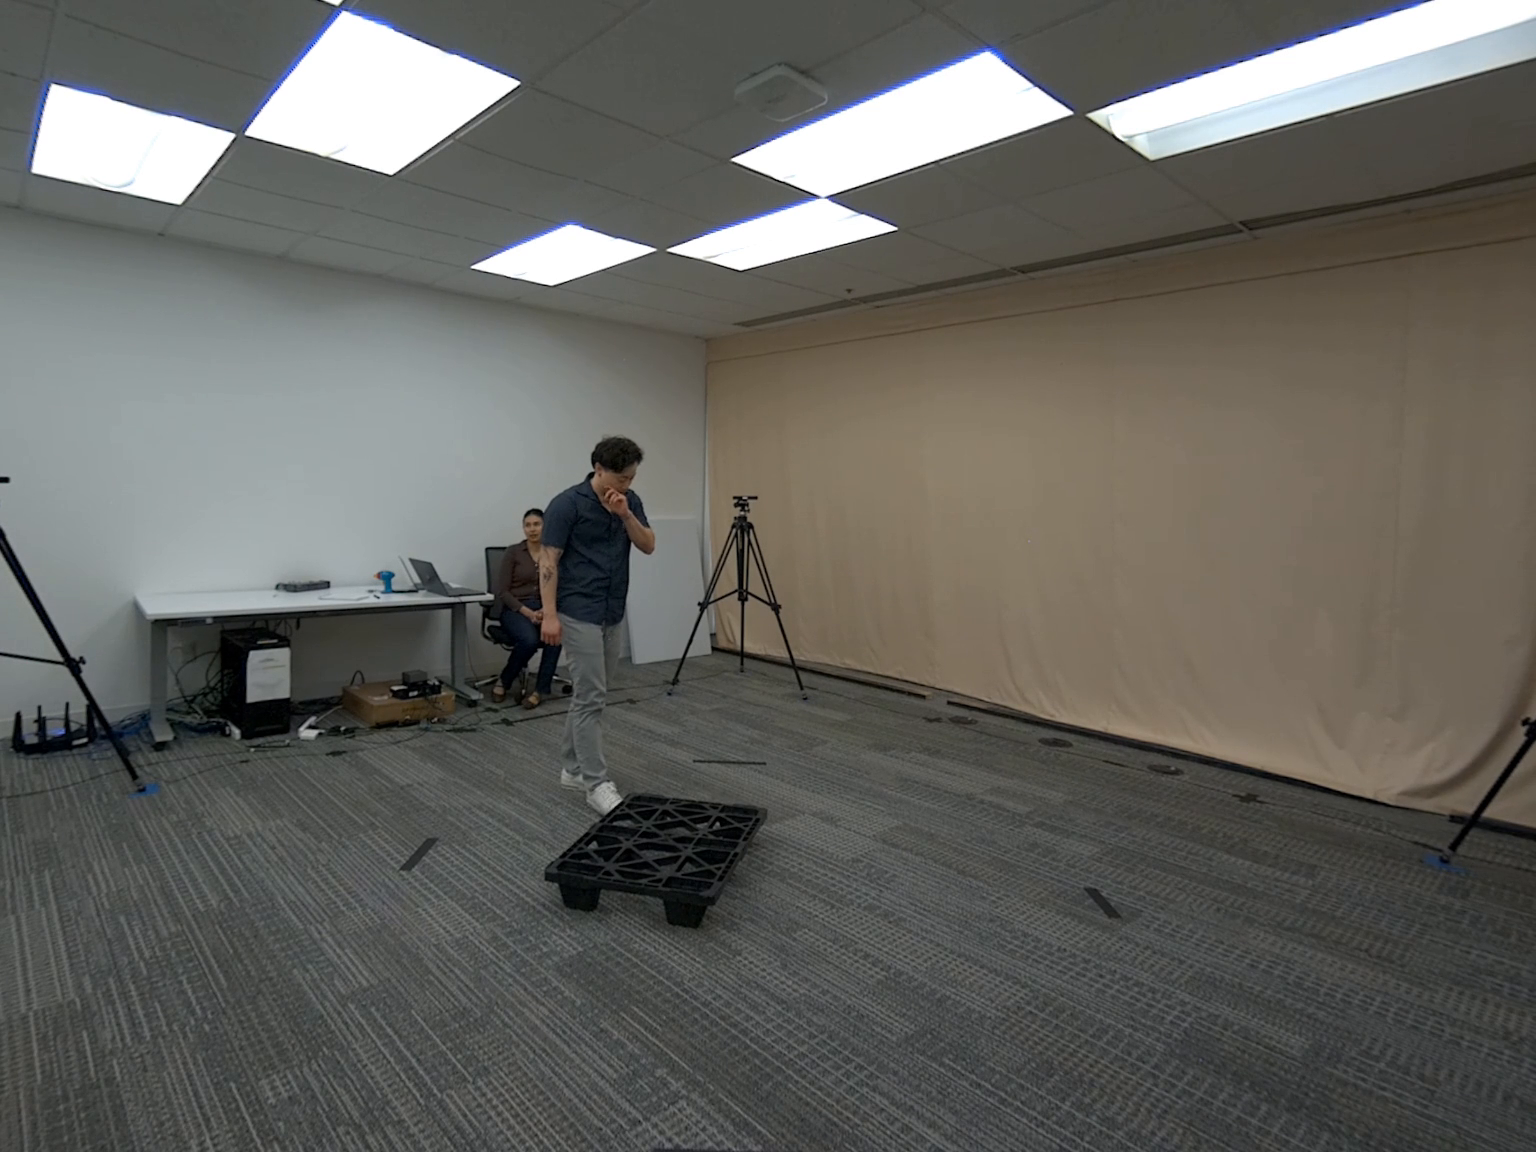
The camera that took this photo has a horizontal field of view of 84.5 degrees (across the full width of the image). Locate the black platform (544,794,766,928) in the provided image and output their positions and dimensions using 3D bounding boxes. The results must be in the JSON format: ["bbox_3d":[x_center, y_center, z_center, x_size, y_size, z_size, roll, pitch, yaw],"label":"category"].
[{"bbox_3d":[-0.377,1.030,3.117,0.612,0.143,0.799,3,6,13],"label":"black platform"}]
